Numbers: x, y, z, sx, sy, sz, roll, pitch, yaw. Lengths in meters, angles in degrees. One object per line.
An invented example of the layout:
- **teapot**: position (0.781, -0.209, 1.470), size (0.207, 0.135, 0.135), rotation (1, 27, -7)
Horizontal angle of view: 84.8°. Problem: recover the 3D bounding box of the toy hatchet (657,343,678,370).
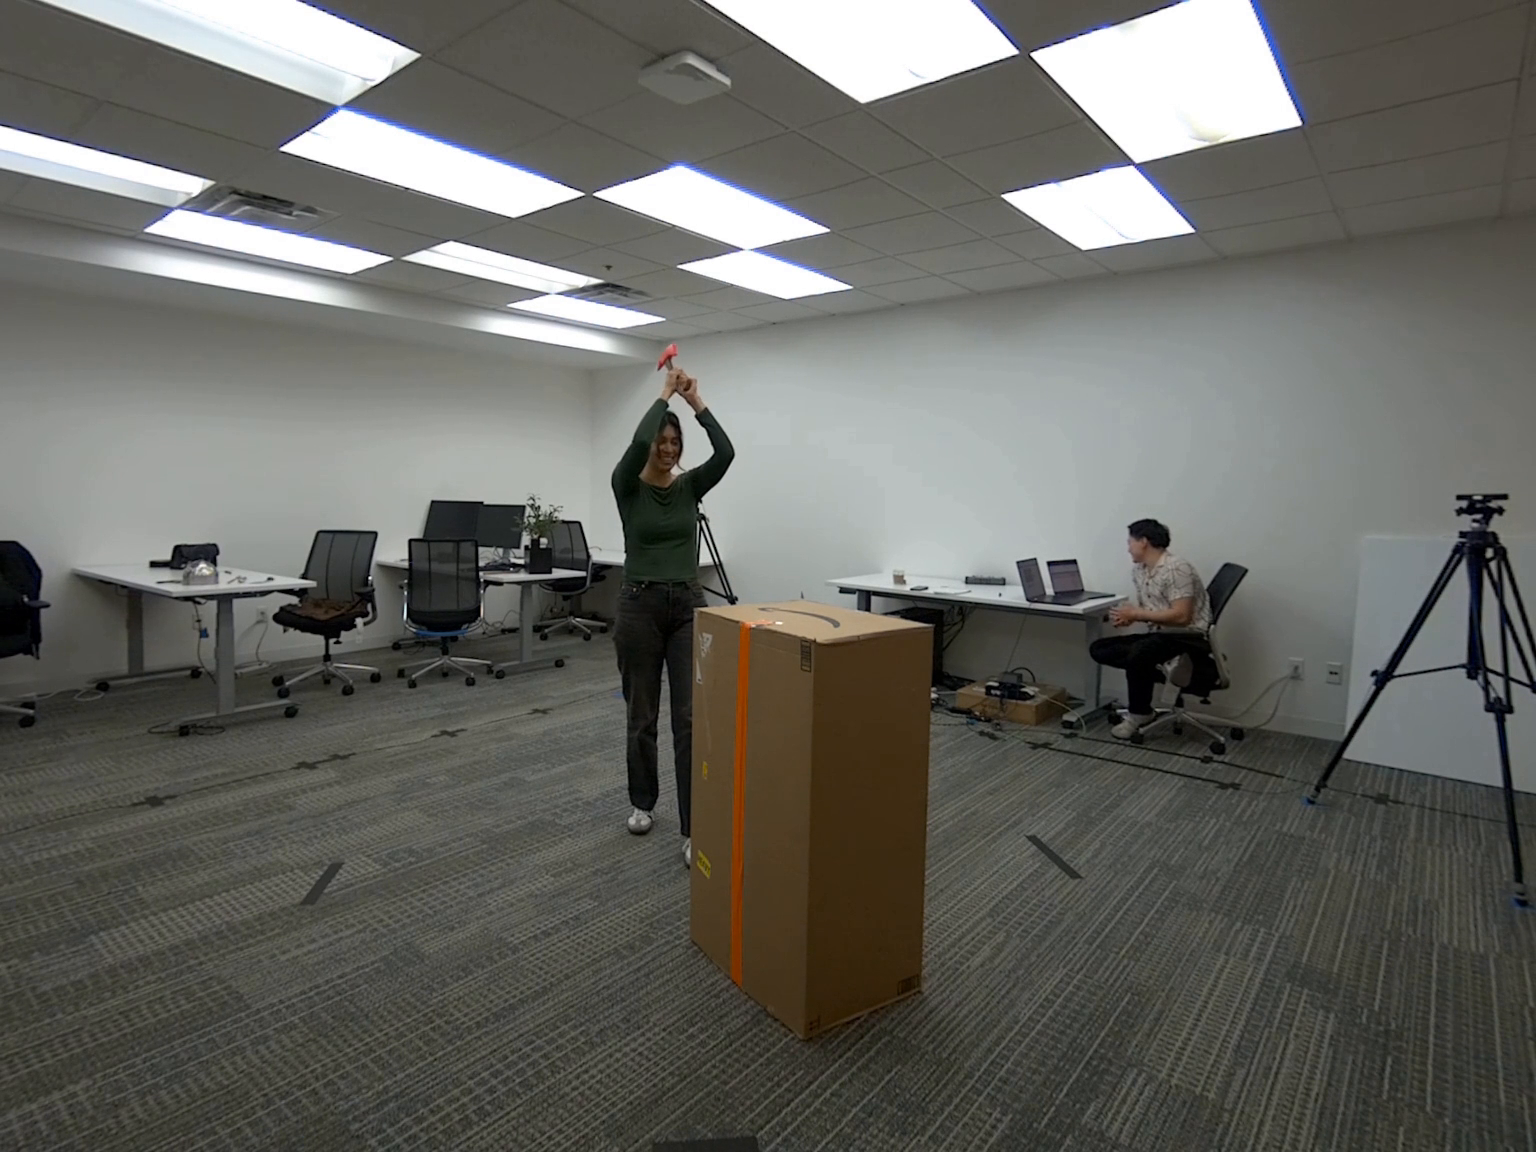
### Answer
- **toy hatchet**: position (-0.358, -0.821, 3.303), size (0.028, 0.130, 0.282), rotation (12, 20, -41)
